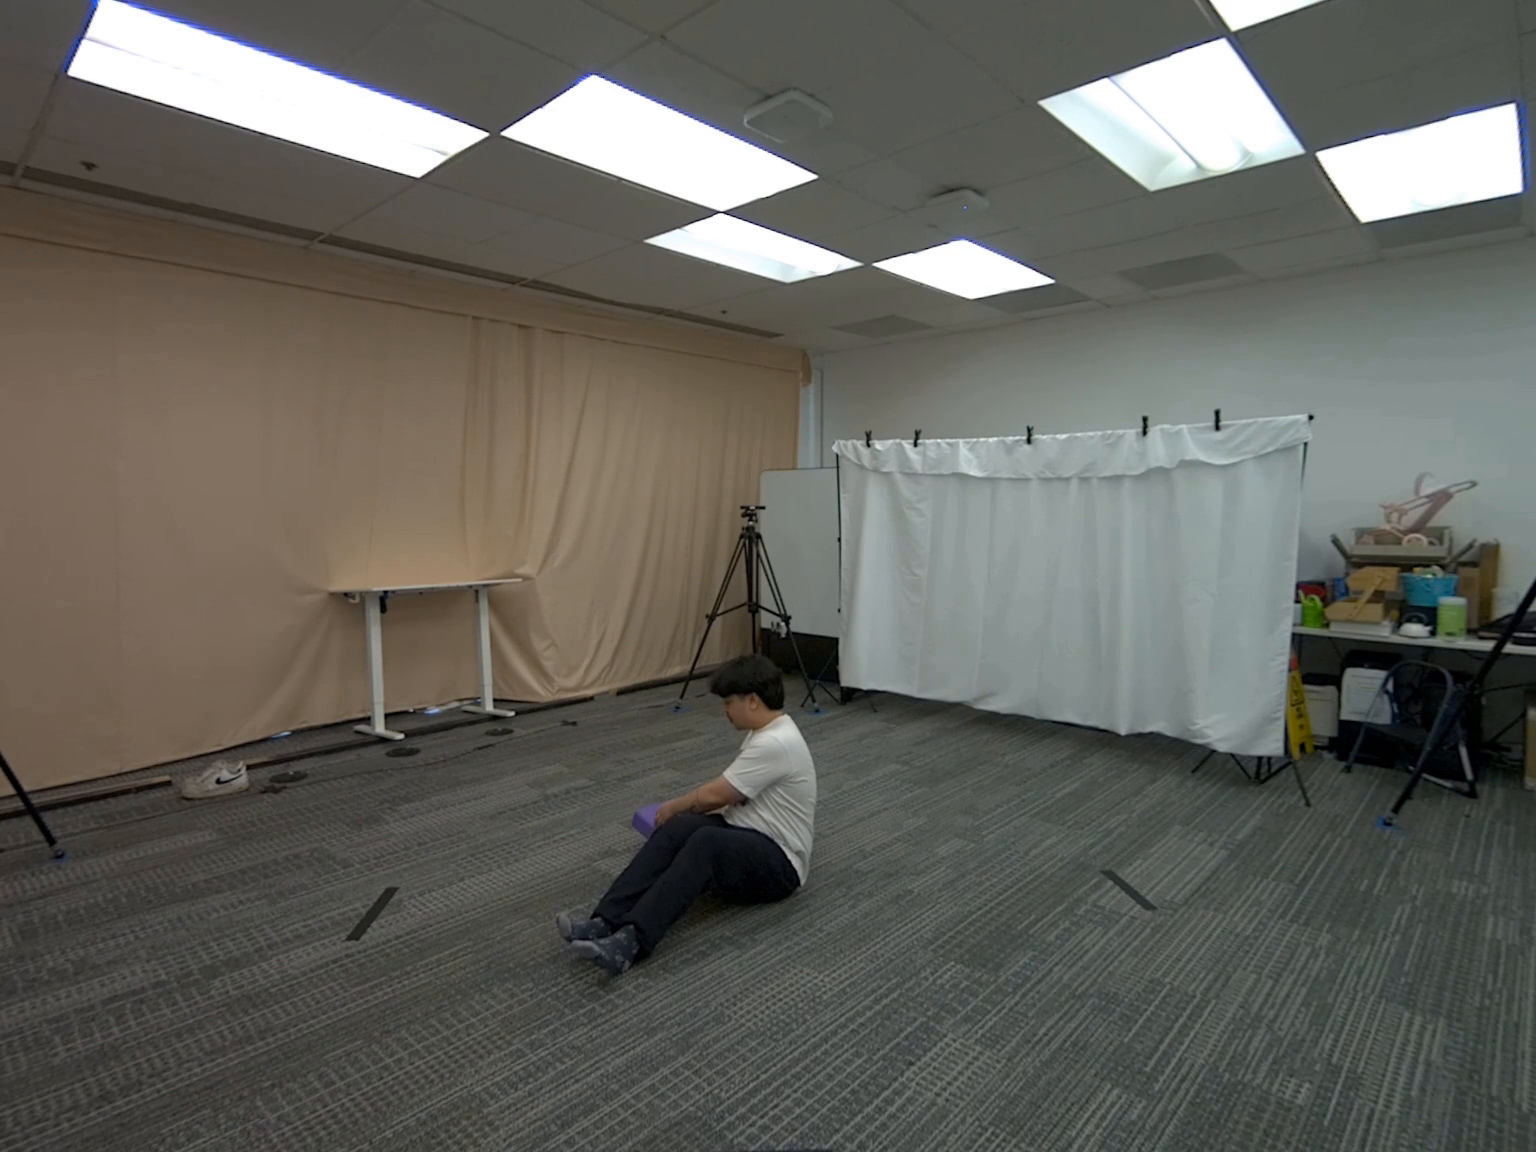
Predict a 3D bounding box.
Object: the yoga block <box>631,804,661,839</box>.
[{"bbox_3d":[-0.415,1.015,3.393,0.237,0.076,0.144,26,17,36],"label":"yoga block"}]
